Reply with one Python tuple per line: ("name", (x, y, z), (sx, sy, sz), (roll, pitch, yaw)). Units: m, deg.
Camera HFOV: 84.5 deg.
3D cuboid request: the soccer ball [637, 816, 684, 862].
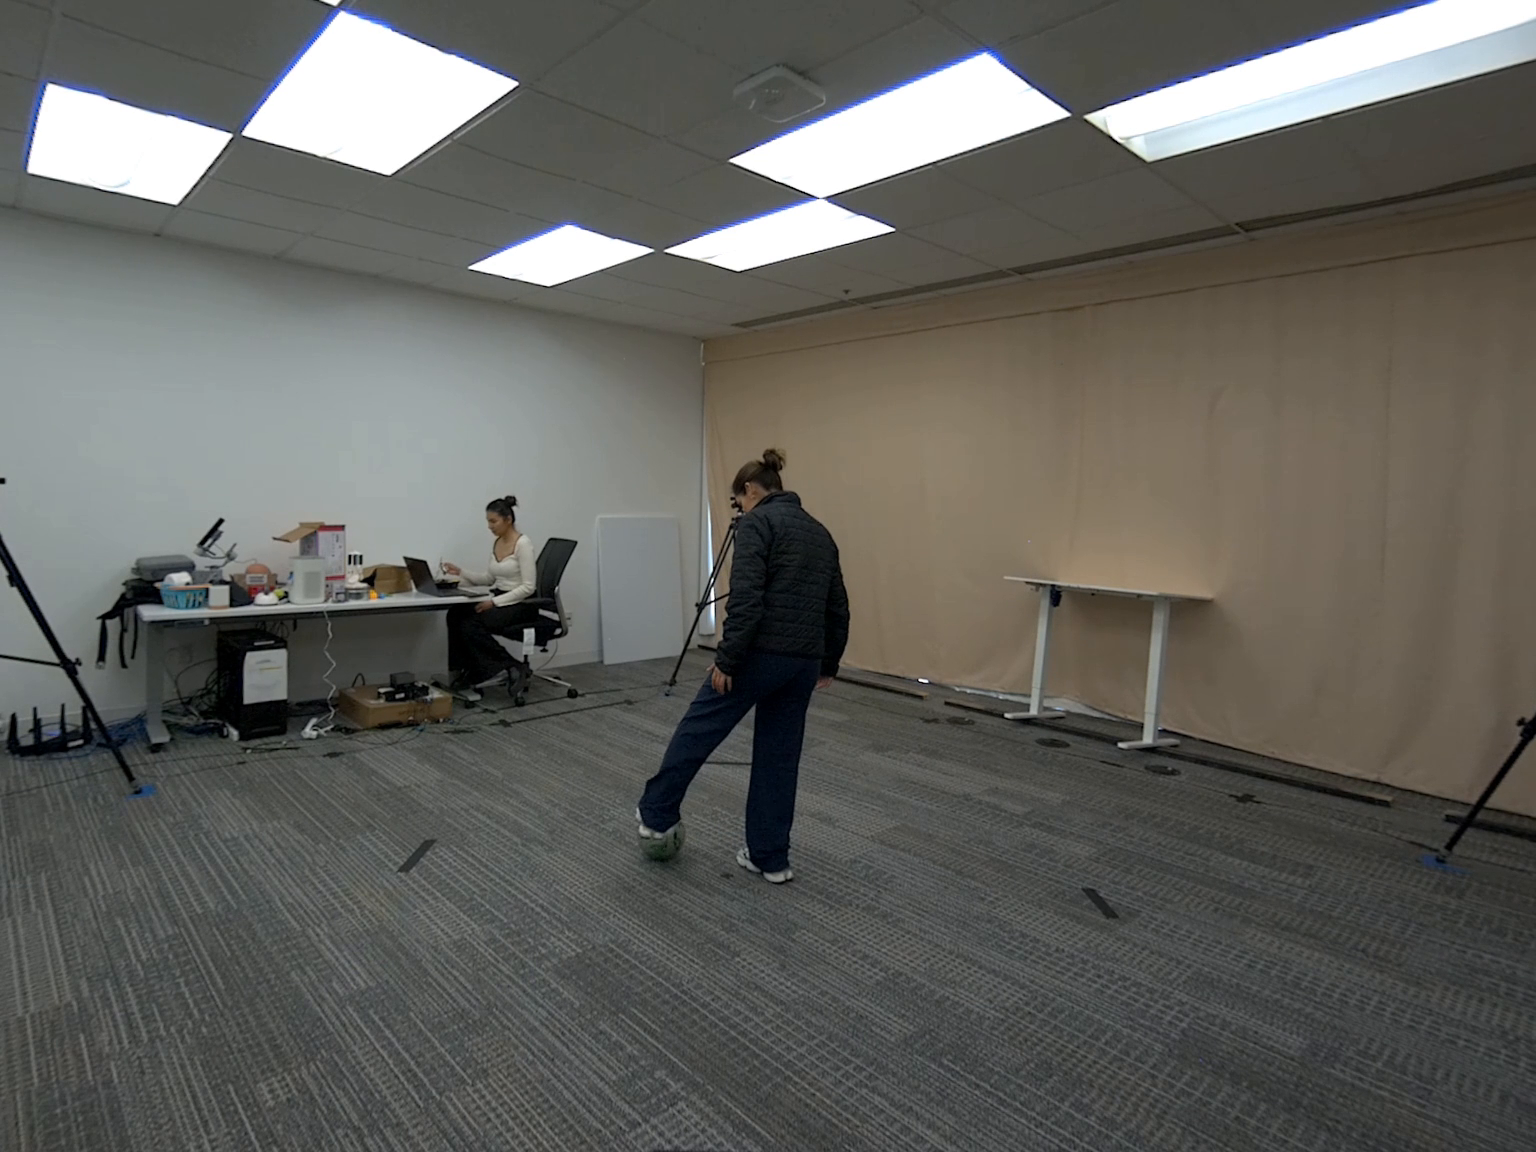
("soccer ball", (-0.416, 0.992, 3.240), (0.187, 0.187, 0.188), (1, 4, -1))
